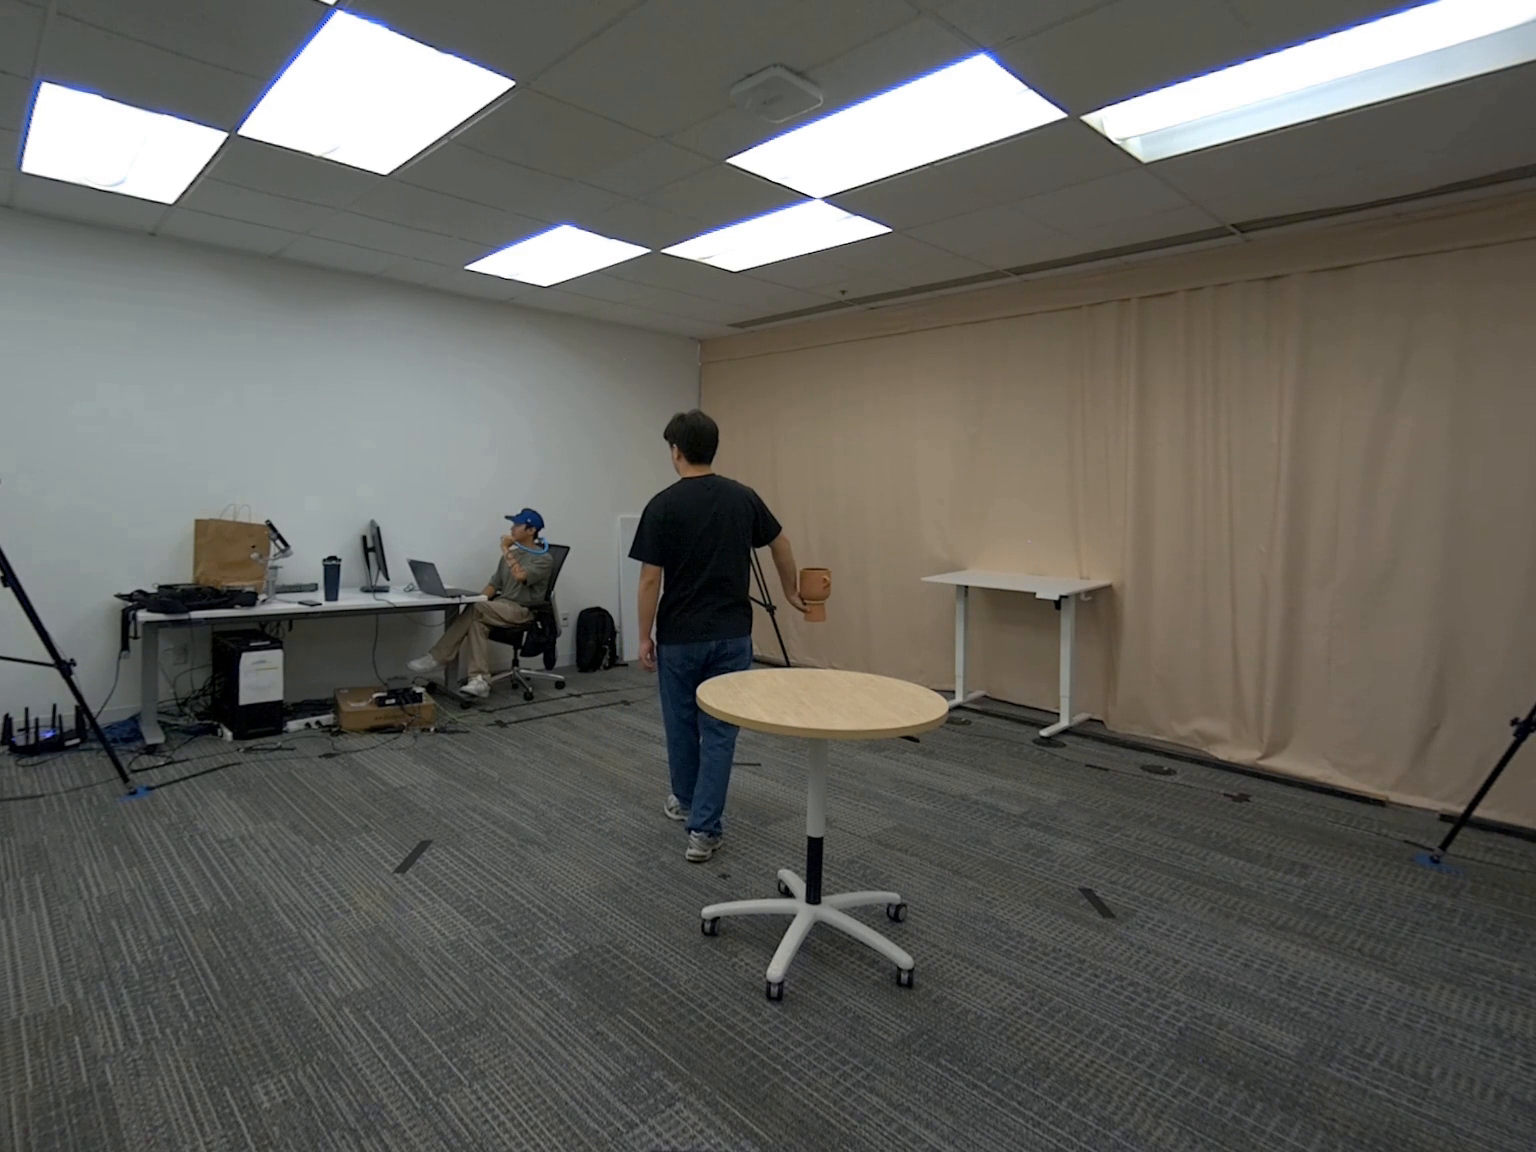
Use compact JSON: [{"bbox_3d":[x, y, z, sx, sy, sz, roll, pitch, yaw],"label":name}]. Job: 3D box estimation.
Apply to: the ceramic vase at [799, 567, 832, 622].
[{"bbox_3d":[0.182,0.075,3.616,0.135,0.219,0.159,0,5,5],"label":"ceramic vase"}]
